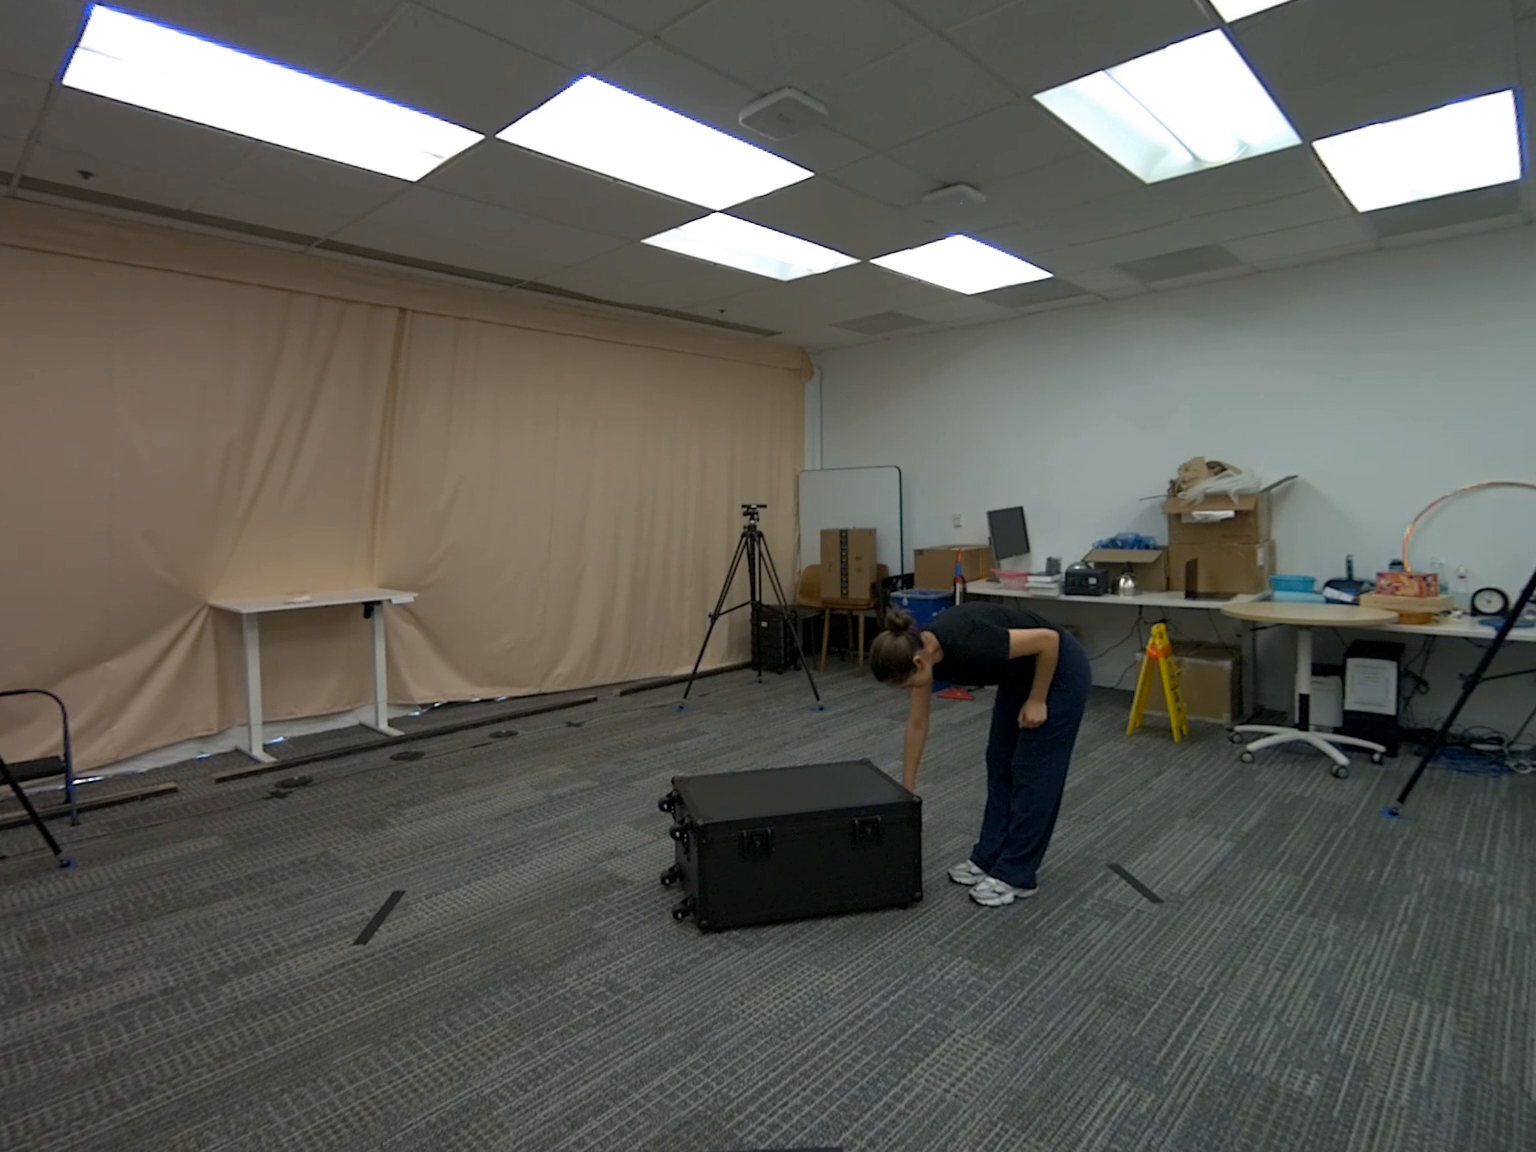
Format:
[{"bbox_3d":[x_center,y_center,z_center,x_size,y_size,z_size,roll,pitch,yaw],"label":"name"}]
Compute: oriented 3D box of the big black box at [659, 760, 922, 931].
[{"bbox_3d":[0.069,0.940,3.017,0.849,0.395,0.530,-2,4,-14],"label":"big black box"}]
